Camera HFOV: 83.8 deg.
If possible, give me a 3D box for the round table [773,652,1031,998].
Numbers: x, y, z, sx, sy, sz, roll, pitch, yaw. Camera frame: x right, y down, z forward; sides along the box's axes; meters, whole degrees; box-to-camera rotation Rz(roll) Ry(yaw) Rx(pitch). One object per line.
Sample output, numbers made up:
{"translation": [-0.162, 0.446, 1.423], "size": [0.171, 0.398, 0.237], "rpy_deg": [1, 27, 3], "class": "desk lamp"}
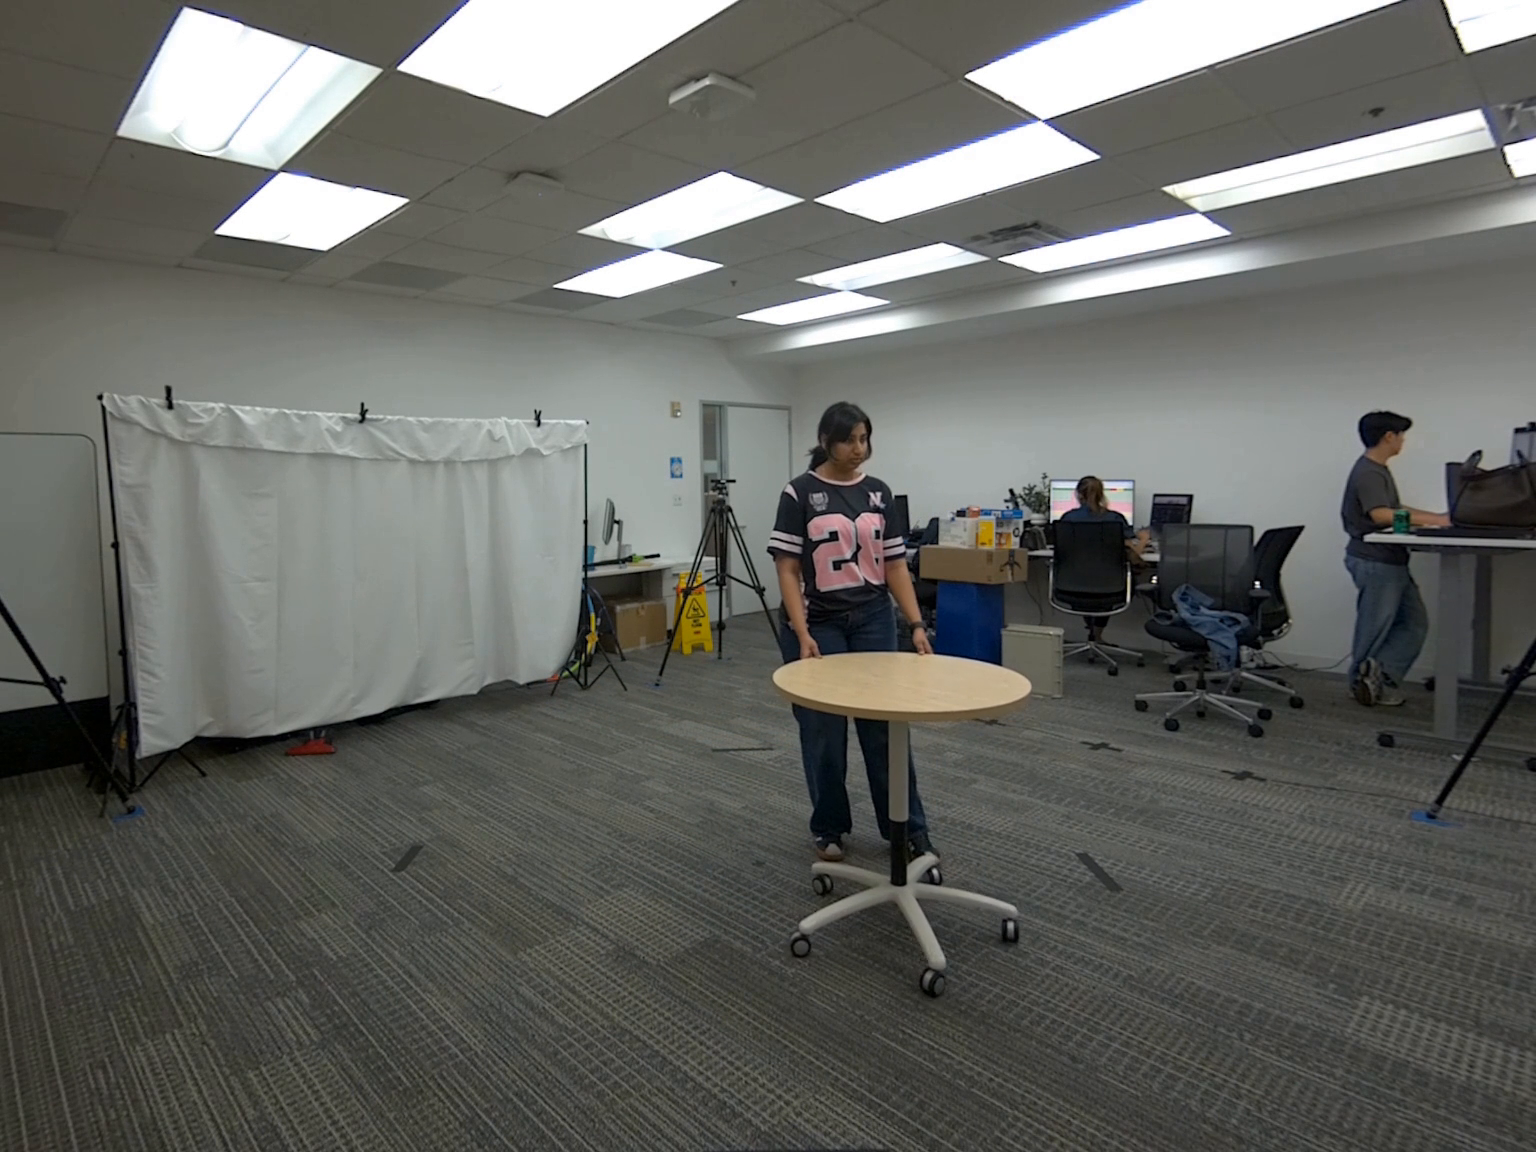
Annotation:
{"translation": [0.395, 0.708, 2.630], "size": [0.763, 0.791, 0.768], "rpy_deg": [-1, 5, -2], "class": "round table"}
